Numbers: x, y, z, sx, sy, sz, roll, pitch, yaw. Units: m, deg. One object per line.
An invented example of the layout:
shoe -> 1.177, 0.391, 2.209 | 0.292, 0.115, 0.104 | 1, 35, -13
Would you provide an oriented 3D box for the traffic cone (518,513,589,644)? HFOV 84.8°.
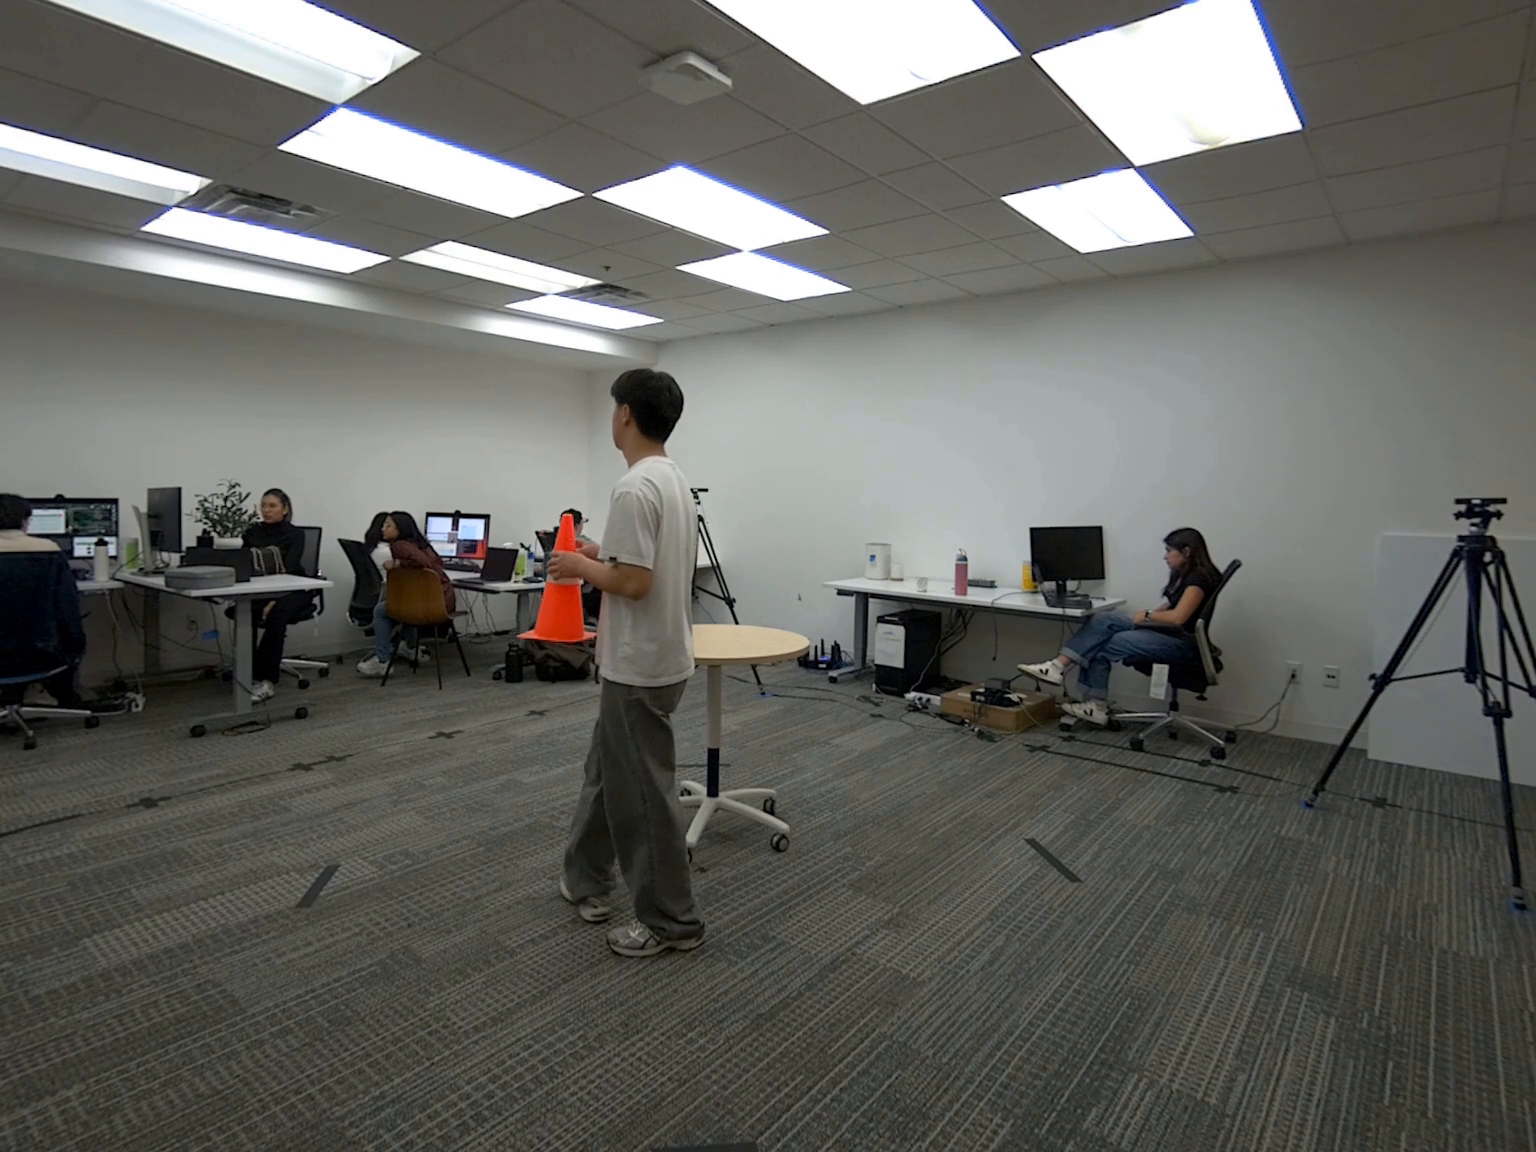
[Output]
traffic cone -> -0.644, -0.009, 2.671 | 0.207, 0.382, 0.202 | 5, 4, 13
